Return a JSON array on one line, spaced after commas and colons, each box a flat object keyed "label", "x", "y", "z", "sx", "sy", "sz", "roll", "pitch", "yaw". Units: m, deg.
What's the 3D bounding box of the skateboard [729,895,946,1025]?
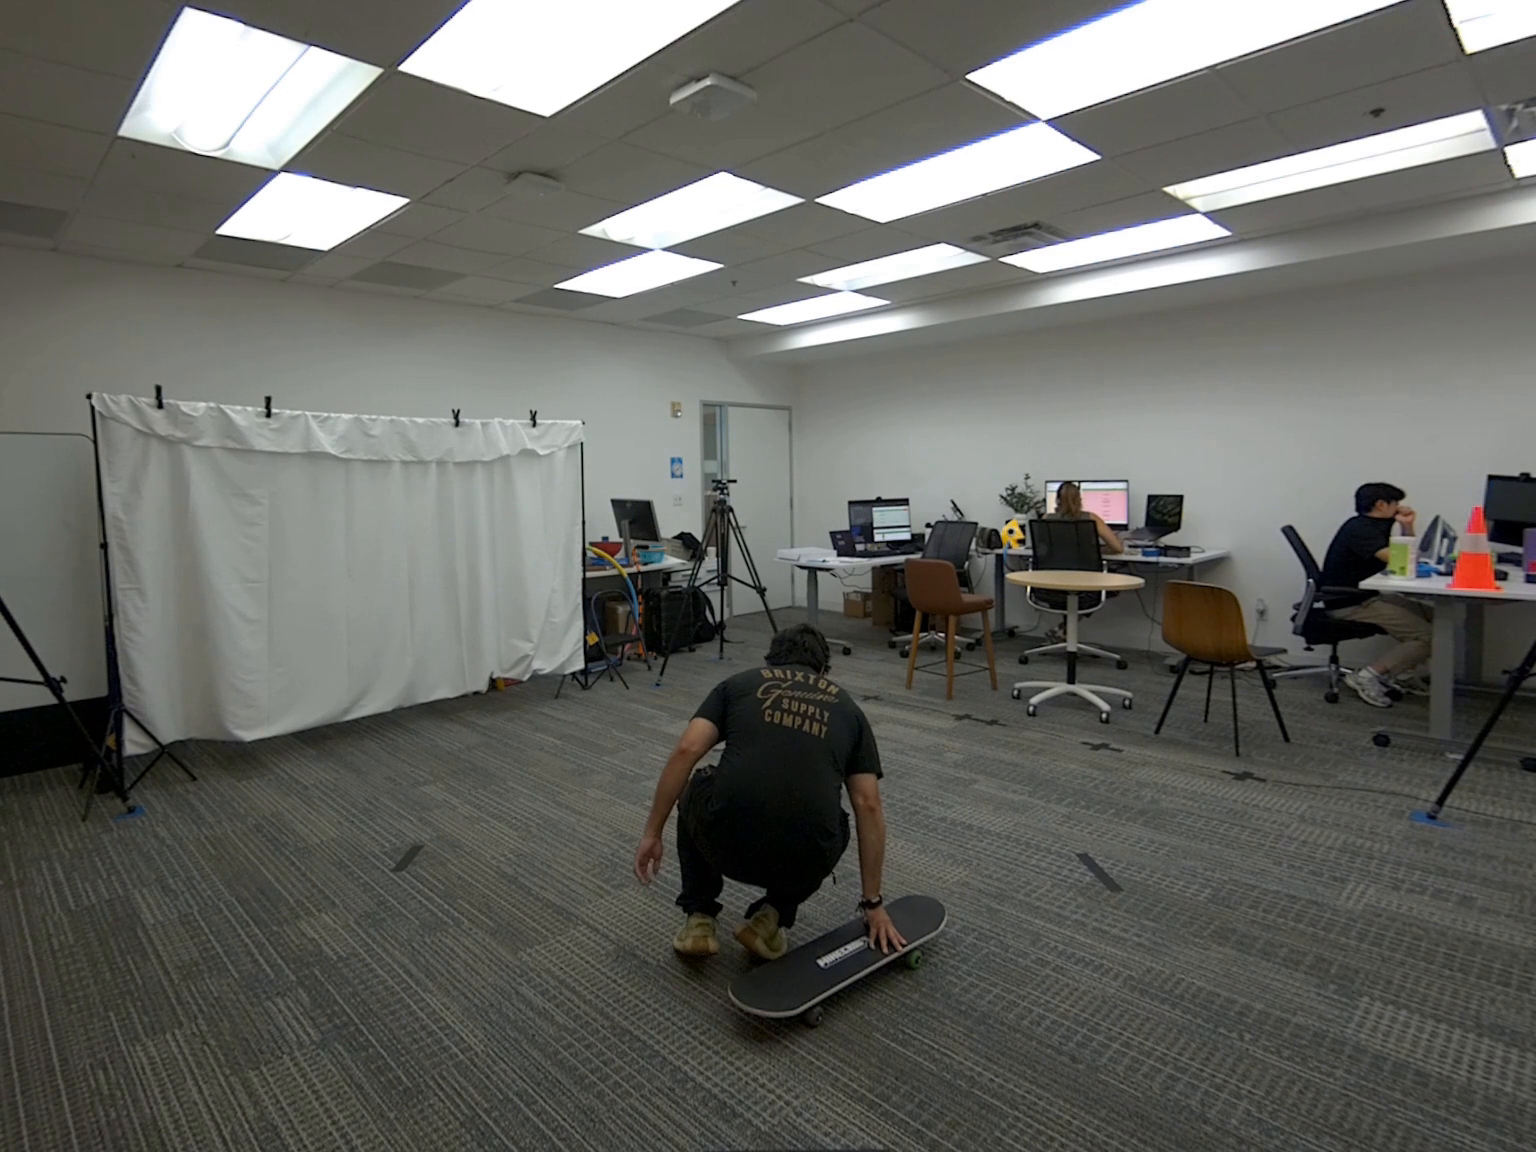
[{"label": "skateboard", "x": 0.217, "y": 1.070, "z": 2.374, "sx": 0.766, "sy": 0.109, "sz": 0.200, "roll": -8, "pitch": 11, "yaw": -40}]
